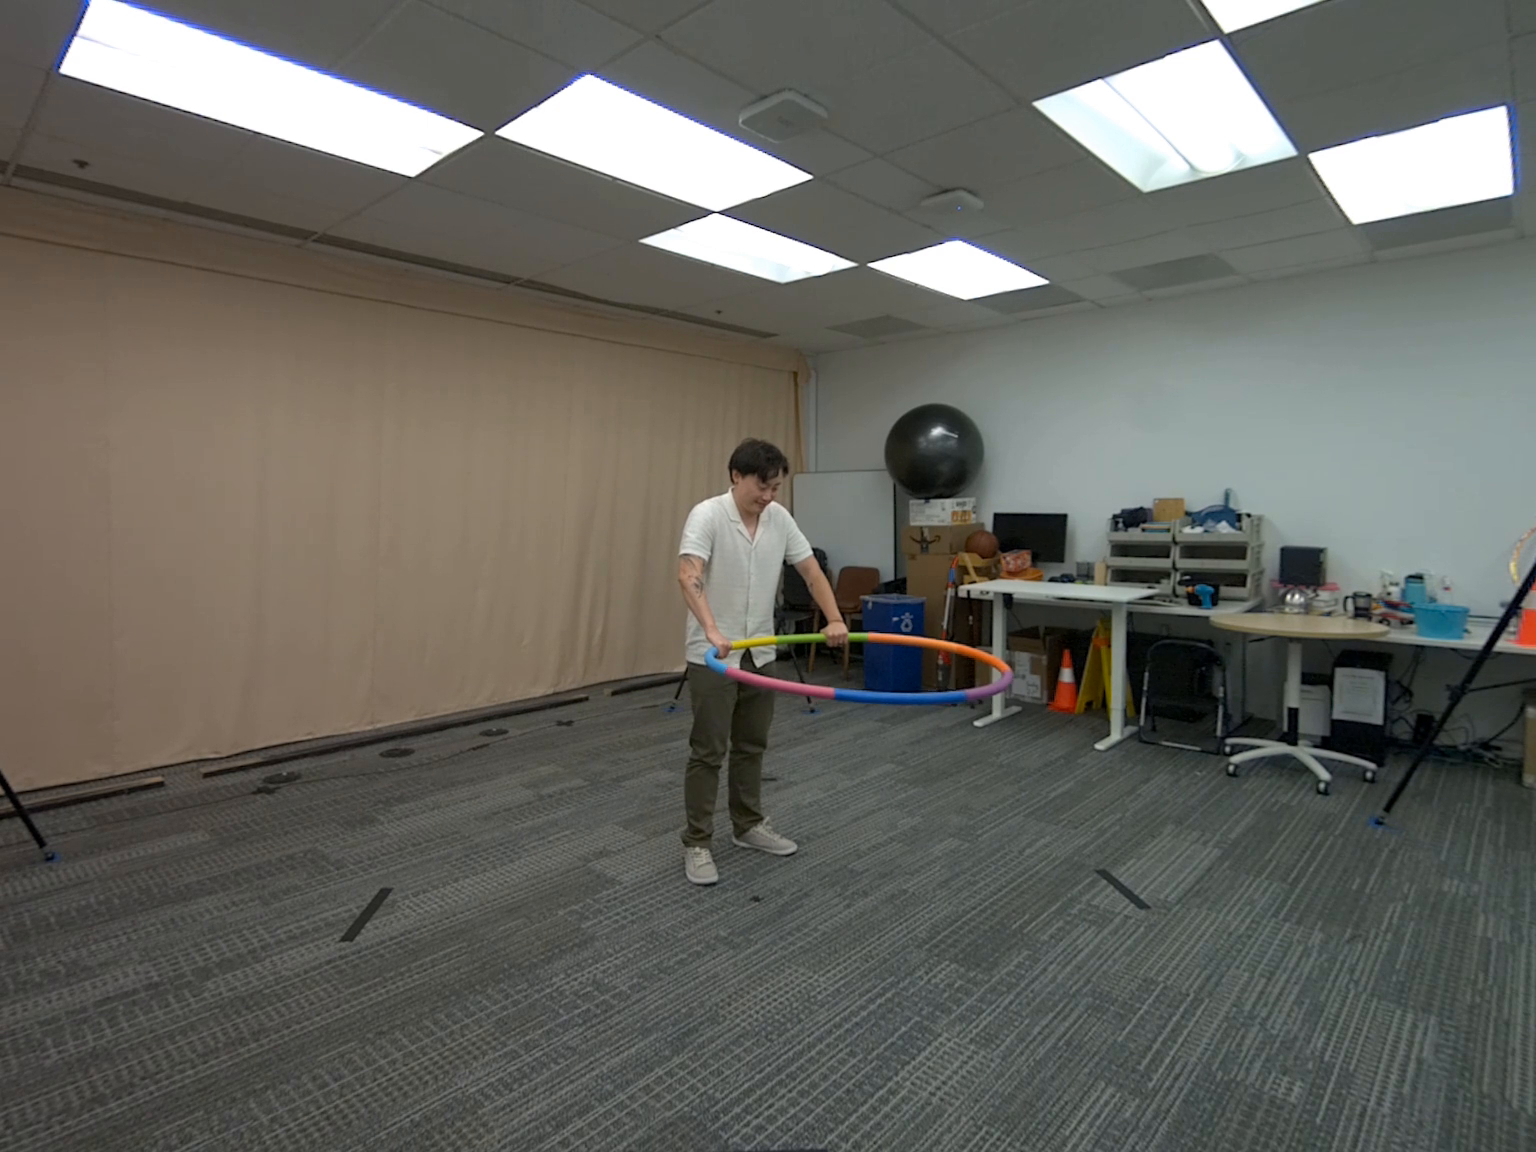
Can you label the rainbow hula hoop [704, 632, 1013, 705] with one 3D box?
[{"bbox_3d":[0.292,0.289,2.763,0.978,0.035,0.983,2,6,-2],"label":"rainbow hula hoop"}]
